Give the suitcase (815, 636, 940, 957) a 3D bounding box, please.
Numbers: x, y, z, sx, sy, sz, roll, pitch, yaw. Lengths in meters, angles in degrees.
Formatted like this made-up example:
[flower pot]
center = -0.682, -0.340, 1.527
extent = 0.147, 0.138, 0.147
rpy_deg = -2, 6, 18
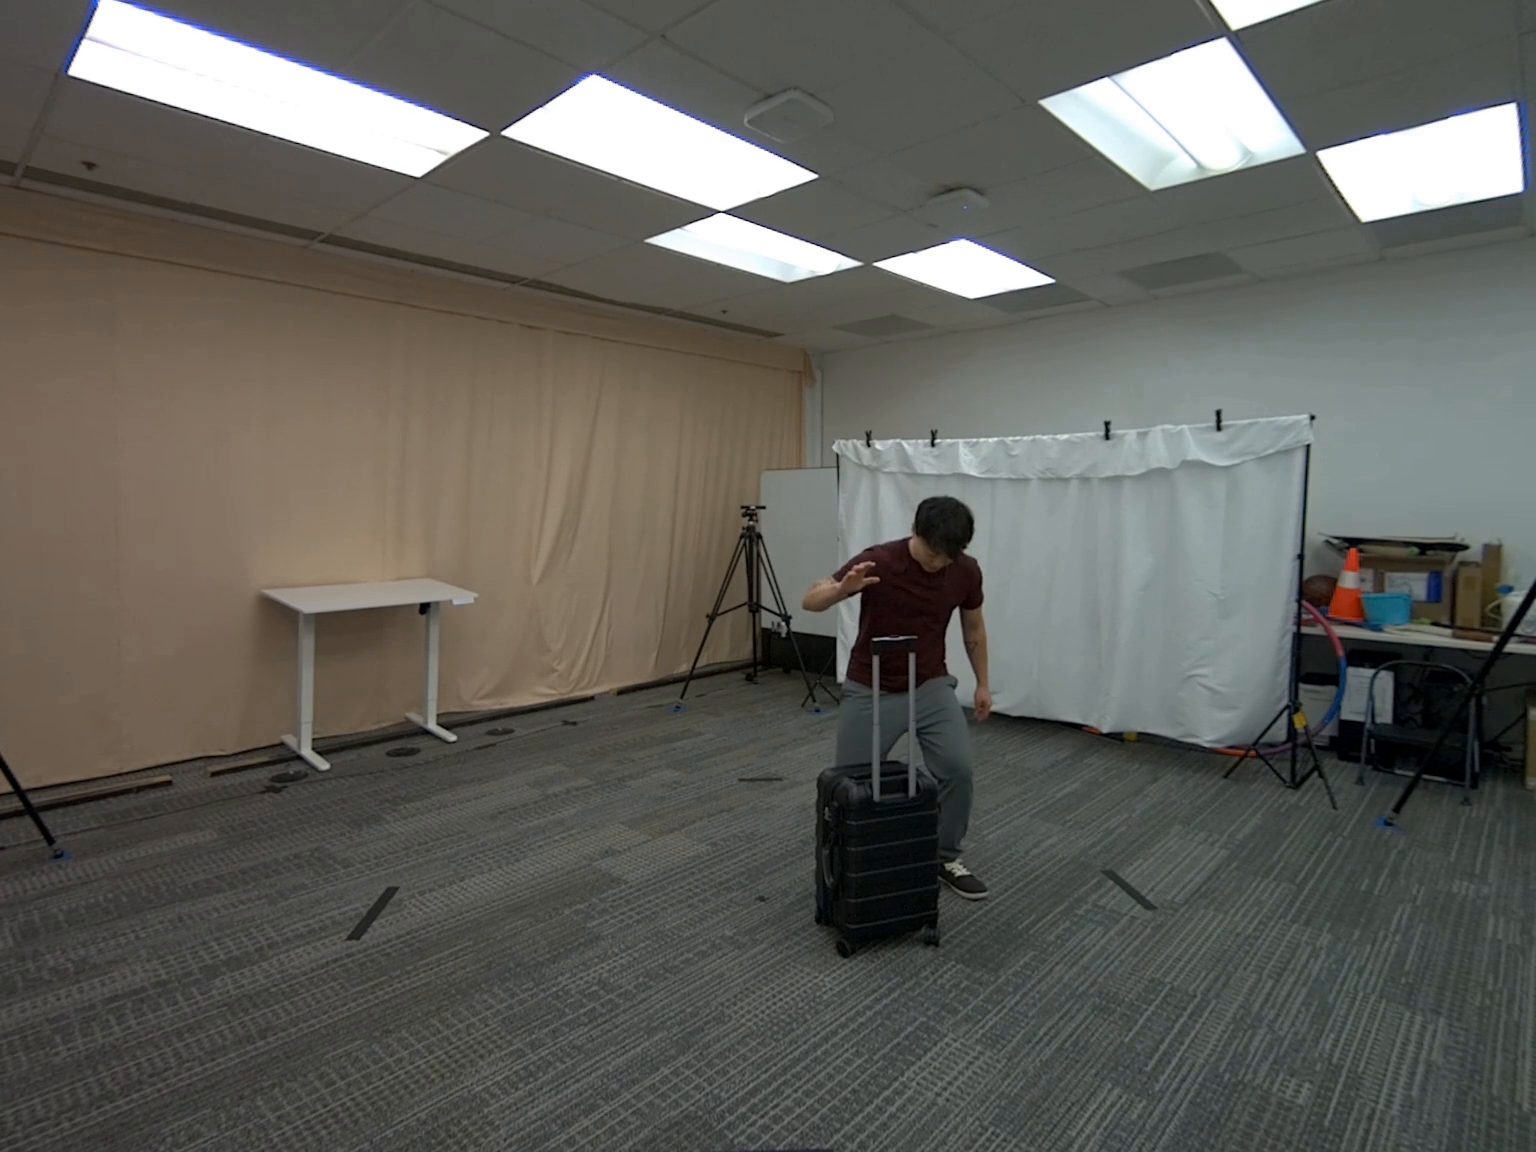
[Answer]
[suitcase]
center = 0.351, 0.693, 2.714
extent = 0.378, 0.978, 0.261
rpy_deg = 0, 1, -15
